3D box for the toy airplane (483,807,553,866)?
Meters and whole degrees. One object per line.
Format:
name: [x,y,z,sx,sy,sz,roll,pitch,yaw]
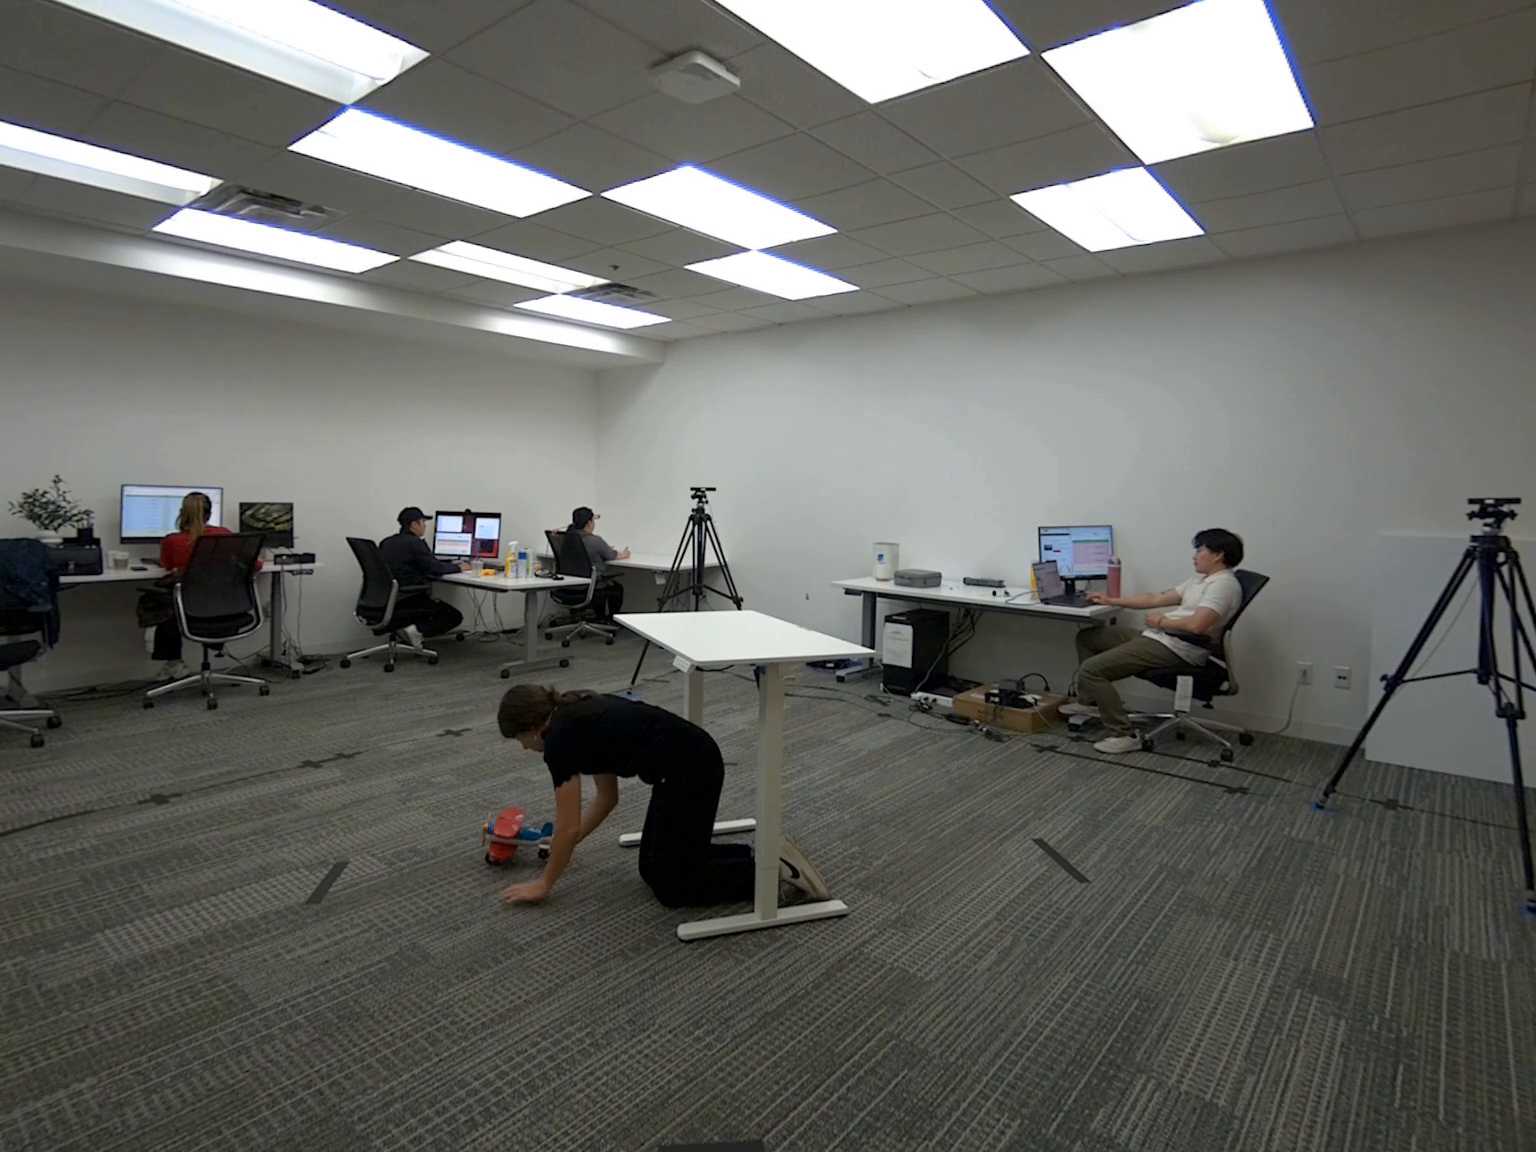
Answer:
toy airplane: [-0.954,0.969,3.170,0.252,0.155,0.259,-6,8,-33]
